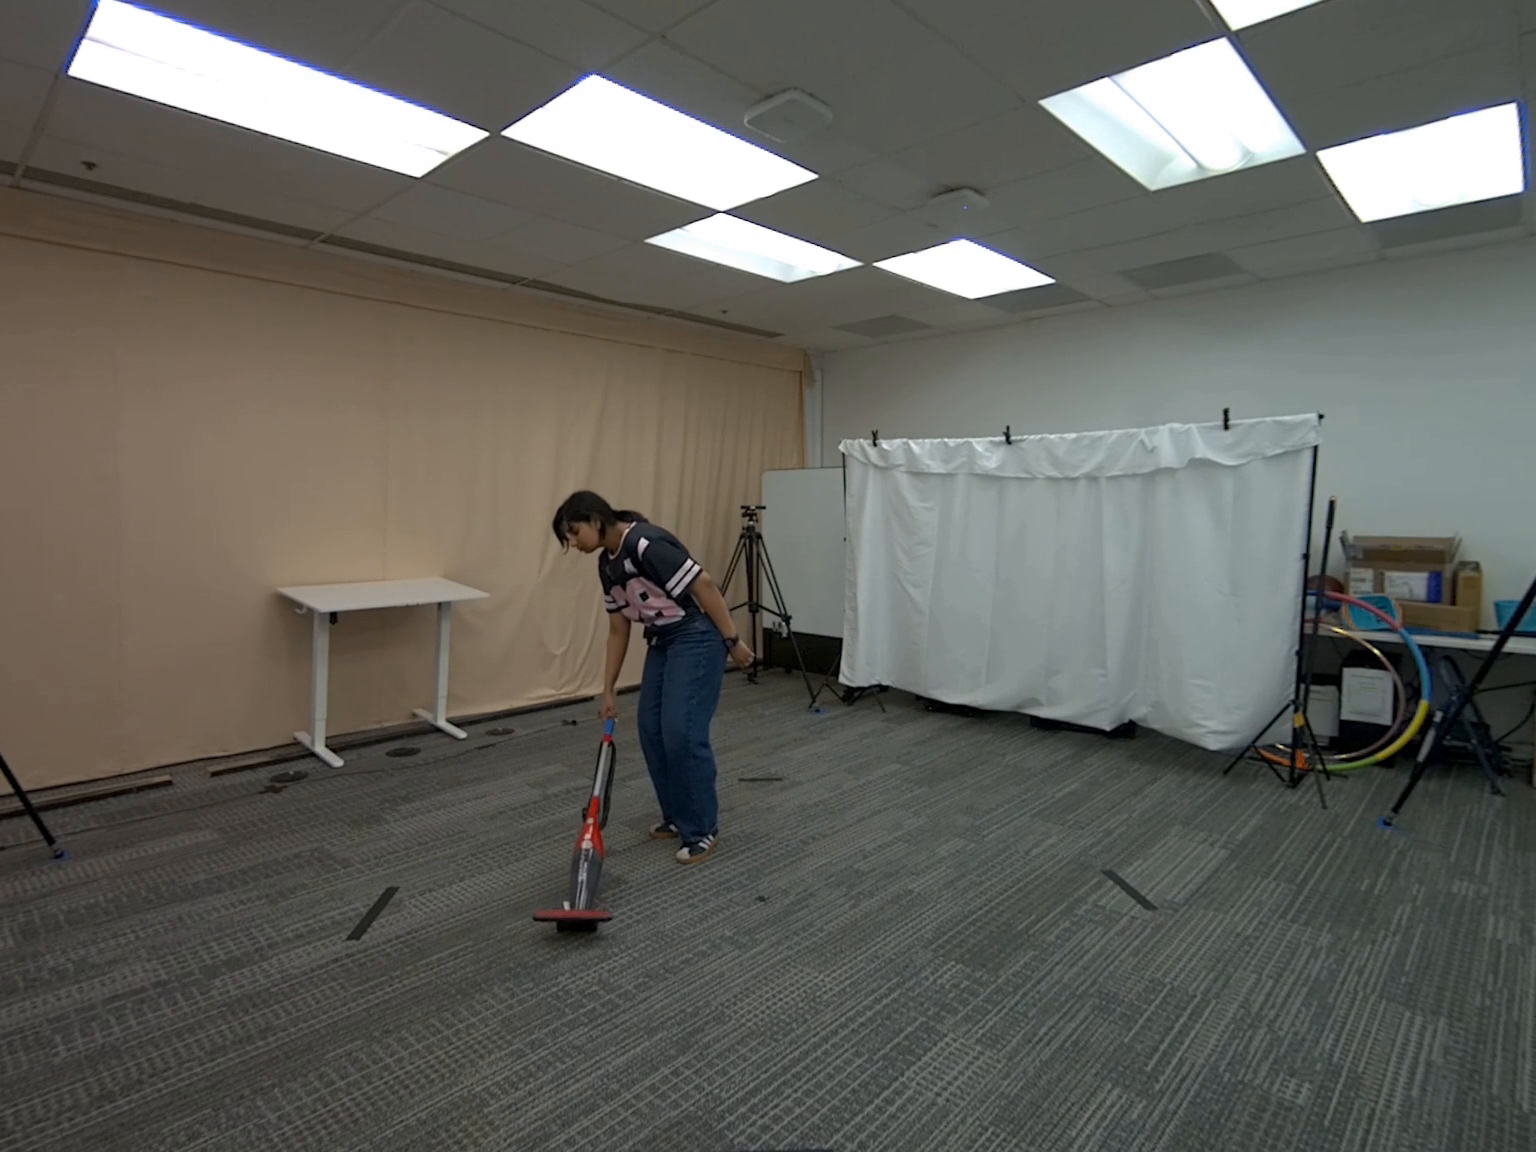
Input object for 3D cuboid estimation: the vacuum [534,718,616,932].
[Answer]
[{"bbox_3d":[-0.639,0.863,3.188,0.253,0.141,1.066,-4,30,1],"label":"vacuum"}]
